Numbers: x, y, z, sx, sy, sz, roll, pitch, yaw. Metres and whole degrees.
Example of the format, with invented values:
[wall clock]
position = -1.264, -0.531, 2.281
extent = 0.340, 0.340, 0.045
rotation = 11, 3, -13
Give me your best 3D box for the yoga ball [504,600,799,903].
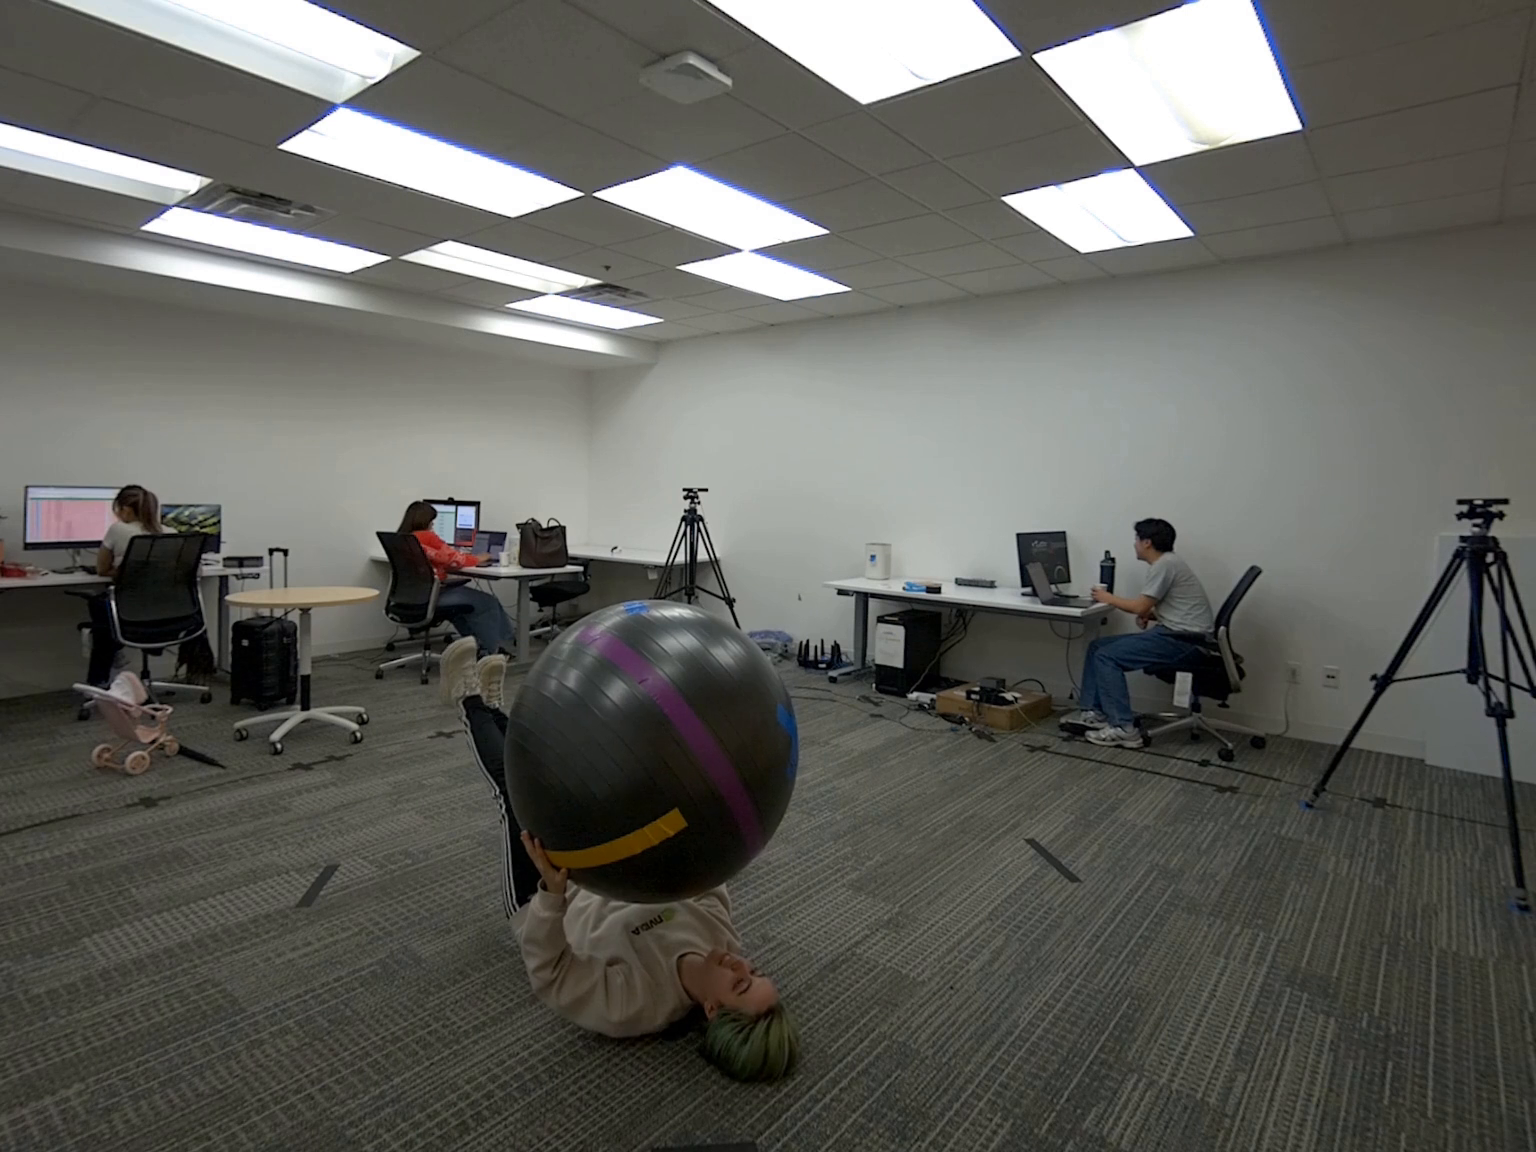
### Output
[yoga ball]
position = -0.304, 0.442, 2.210
extent = 0.757, 0.755, 0.762
rotation = 1, 4, -2
